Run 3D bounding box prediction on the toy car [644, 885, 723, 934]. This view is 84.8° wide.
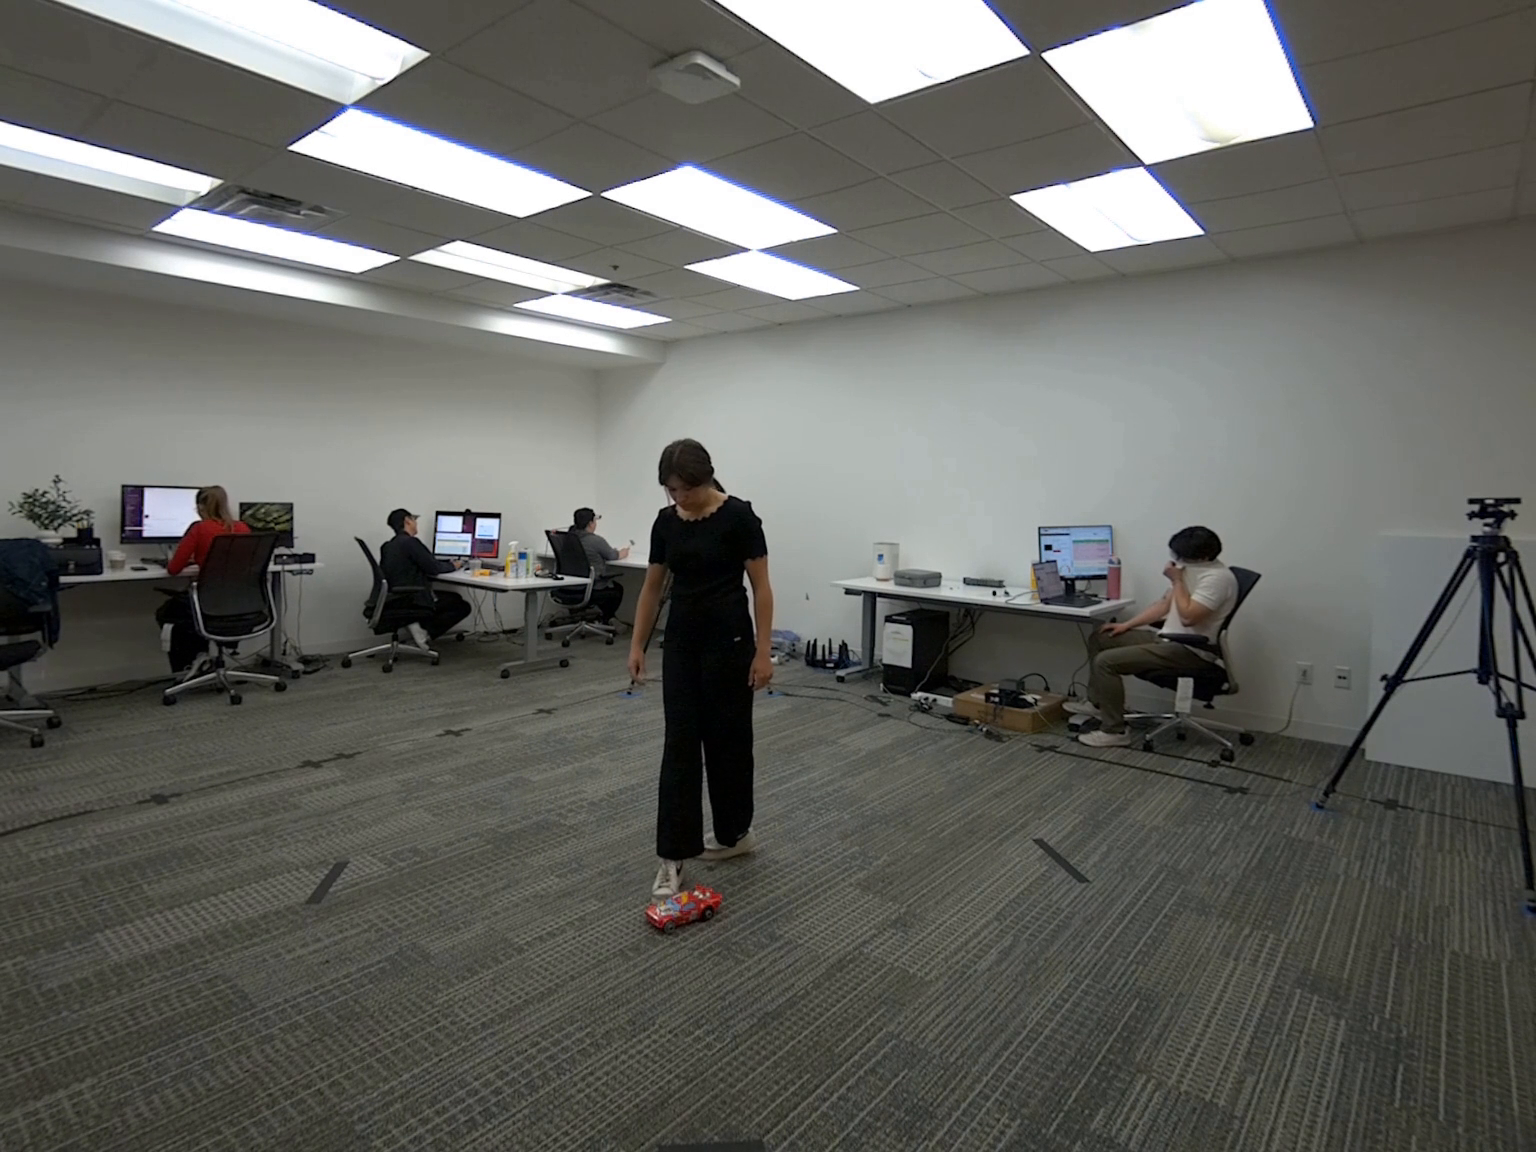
[{"bbox_3d":[-0.277,1.066,2.742,0.249,0.082,0.134,-17,13,-34],"label":"toy car"}]
